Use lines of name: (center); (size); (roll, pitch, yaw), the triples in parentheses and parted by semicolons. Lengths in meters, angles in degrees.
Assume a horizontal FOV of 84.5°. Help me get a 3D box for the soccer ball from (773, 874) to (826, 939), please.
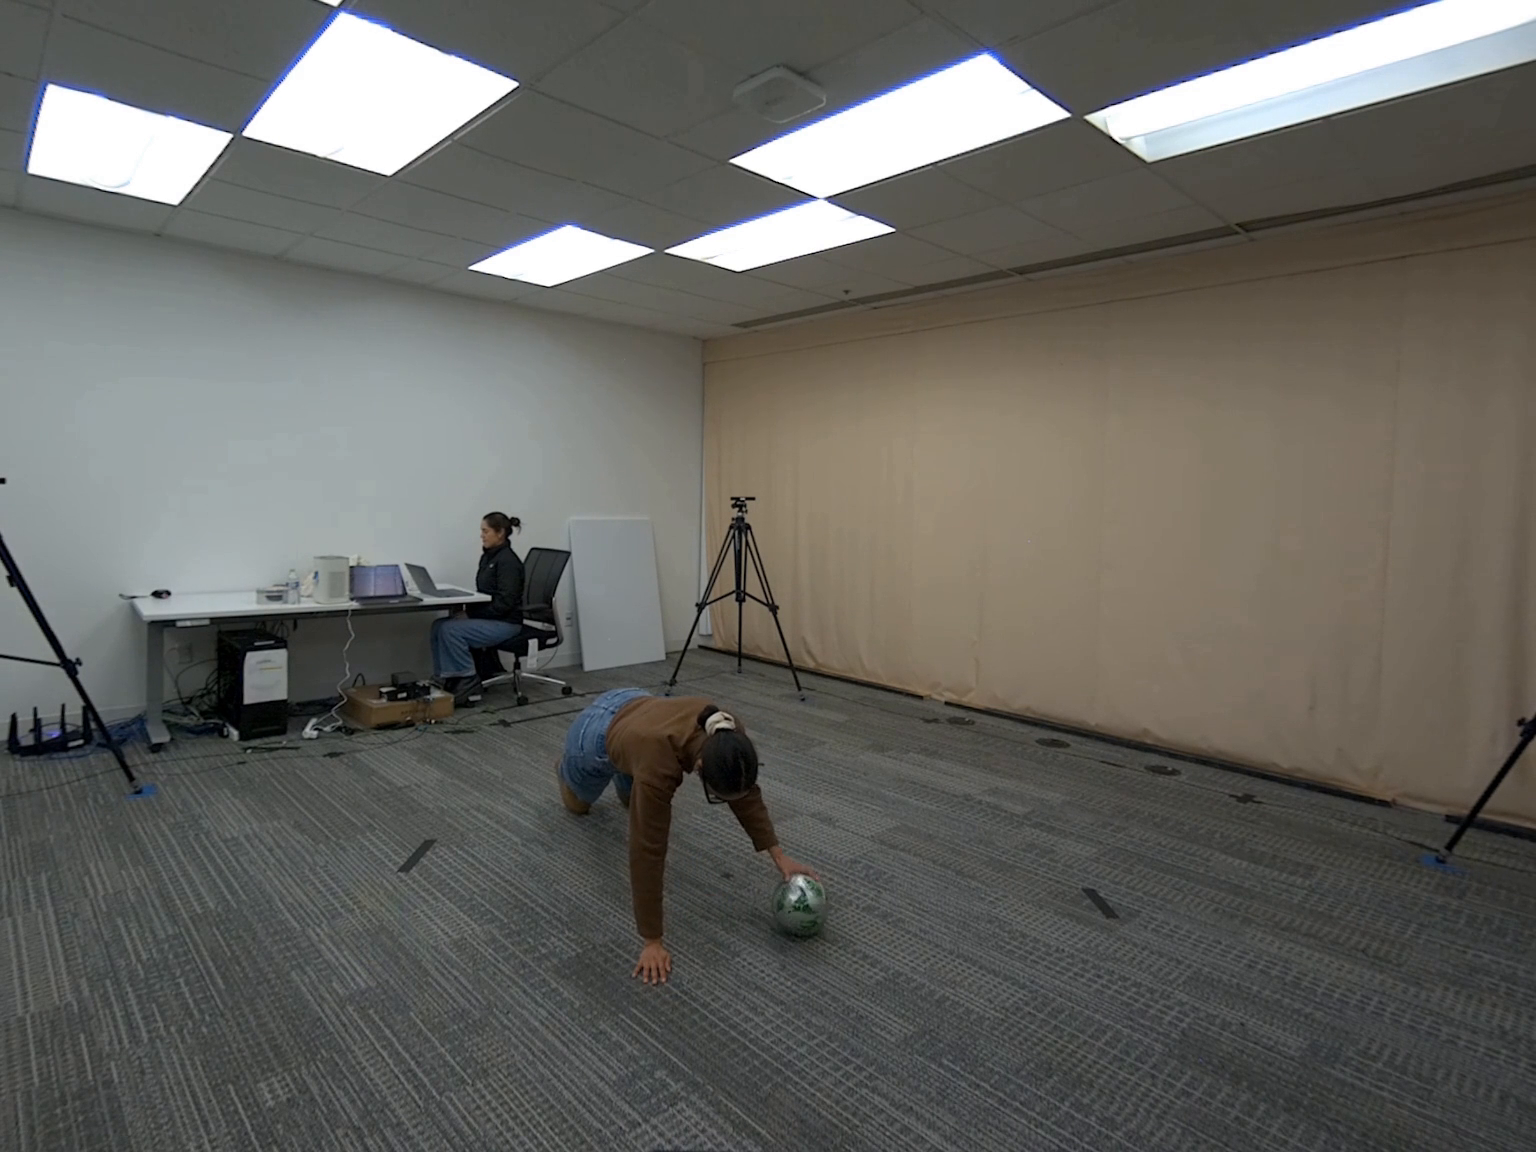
soccer ball: (0.094, 1.059, 2.684); (0.187, 0.187, 0.188); (1, 4, -1)
